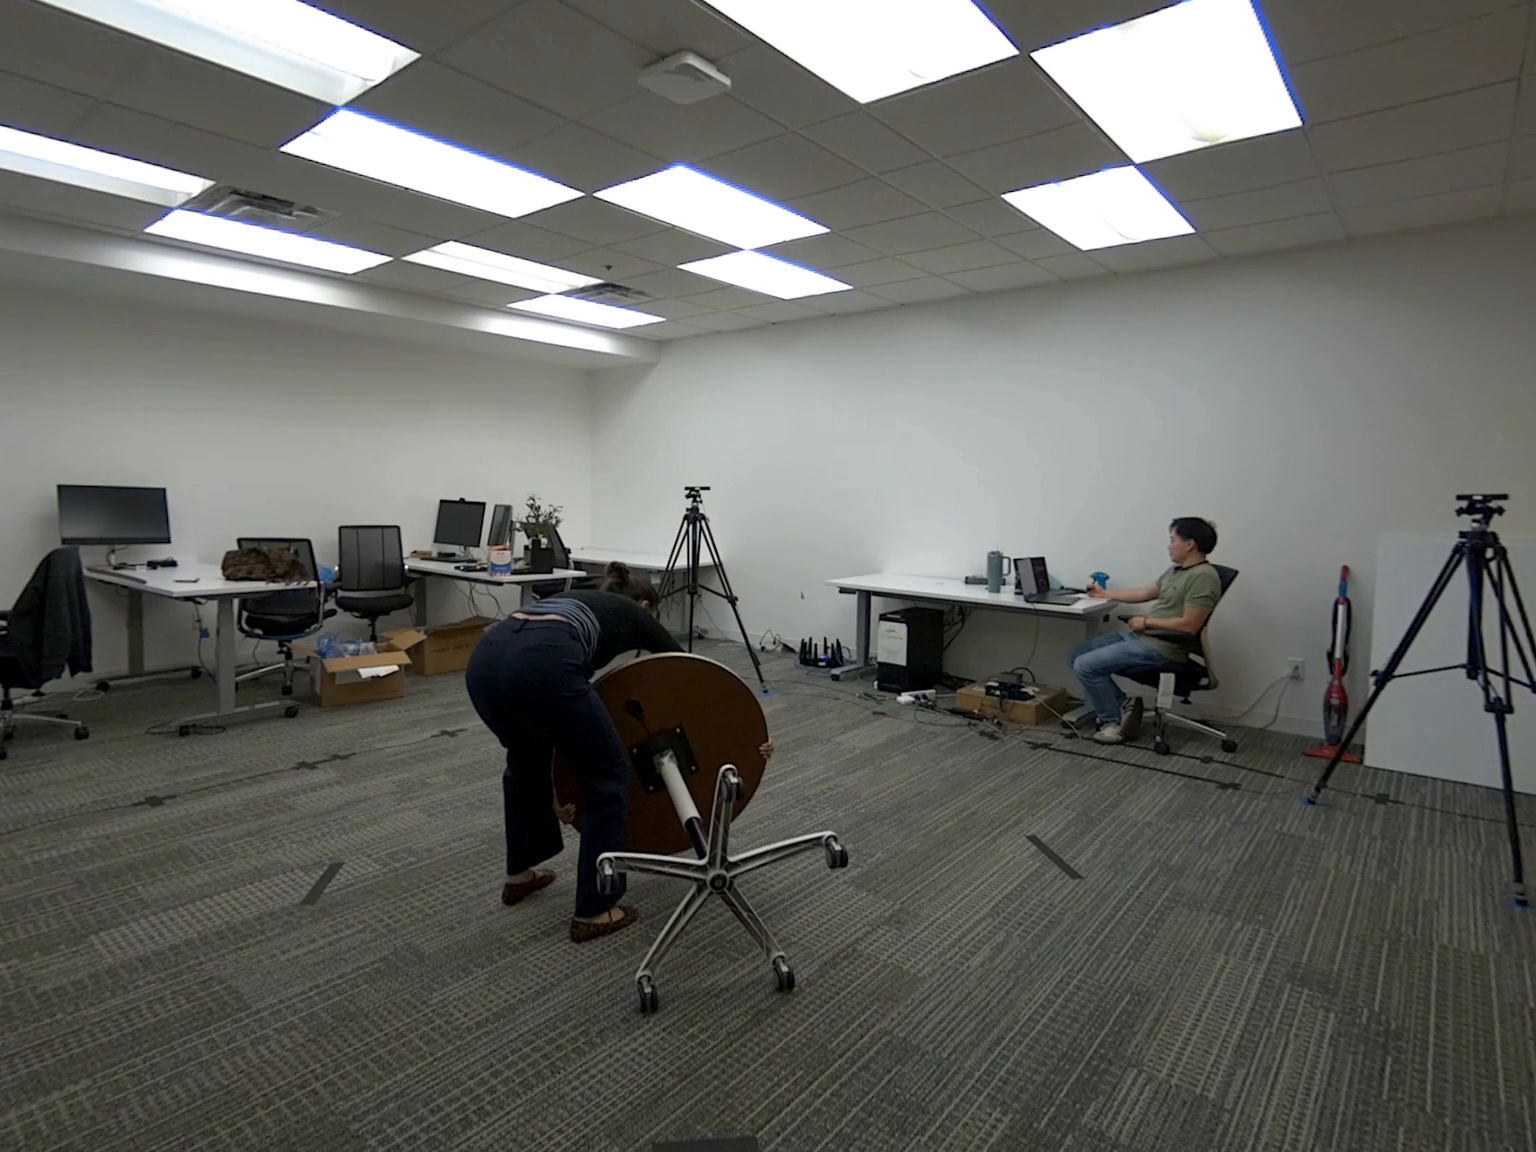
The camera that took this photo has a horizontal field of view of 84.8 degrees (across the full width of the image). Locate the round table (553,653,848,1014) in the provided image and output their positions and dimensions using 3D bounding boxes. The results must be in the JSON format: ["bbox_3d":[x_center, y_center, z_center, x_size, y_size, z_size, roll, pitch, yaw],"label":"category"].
[{"bbox_3d":[-0.239,0.741,2.588,0.750,0.755,0.818,-1,15,-18],"label":"round table"}]
